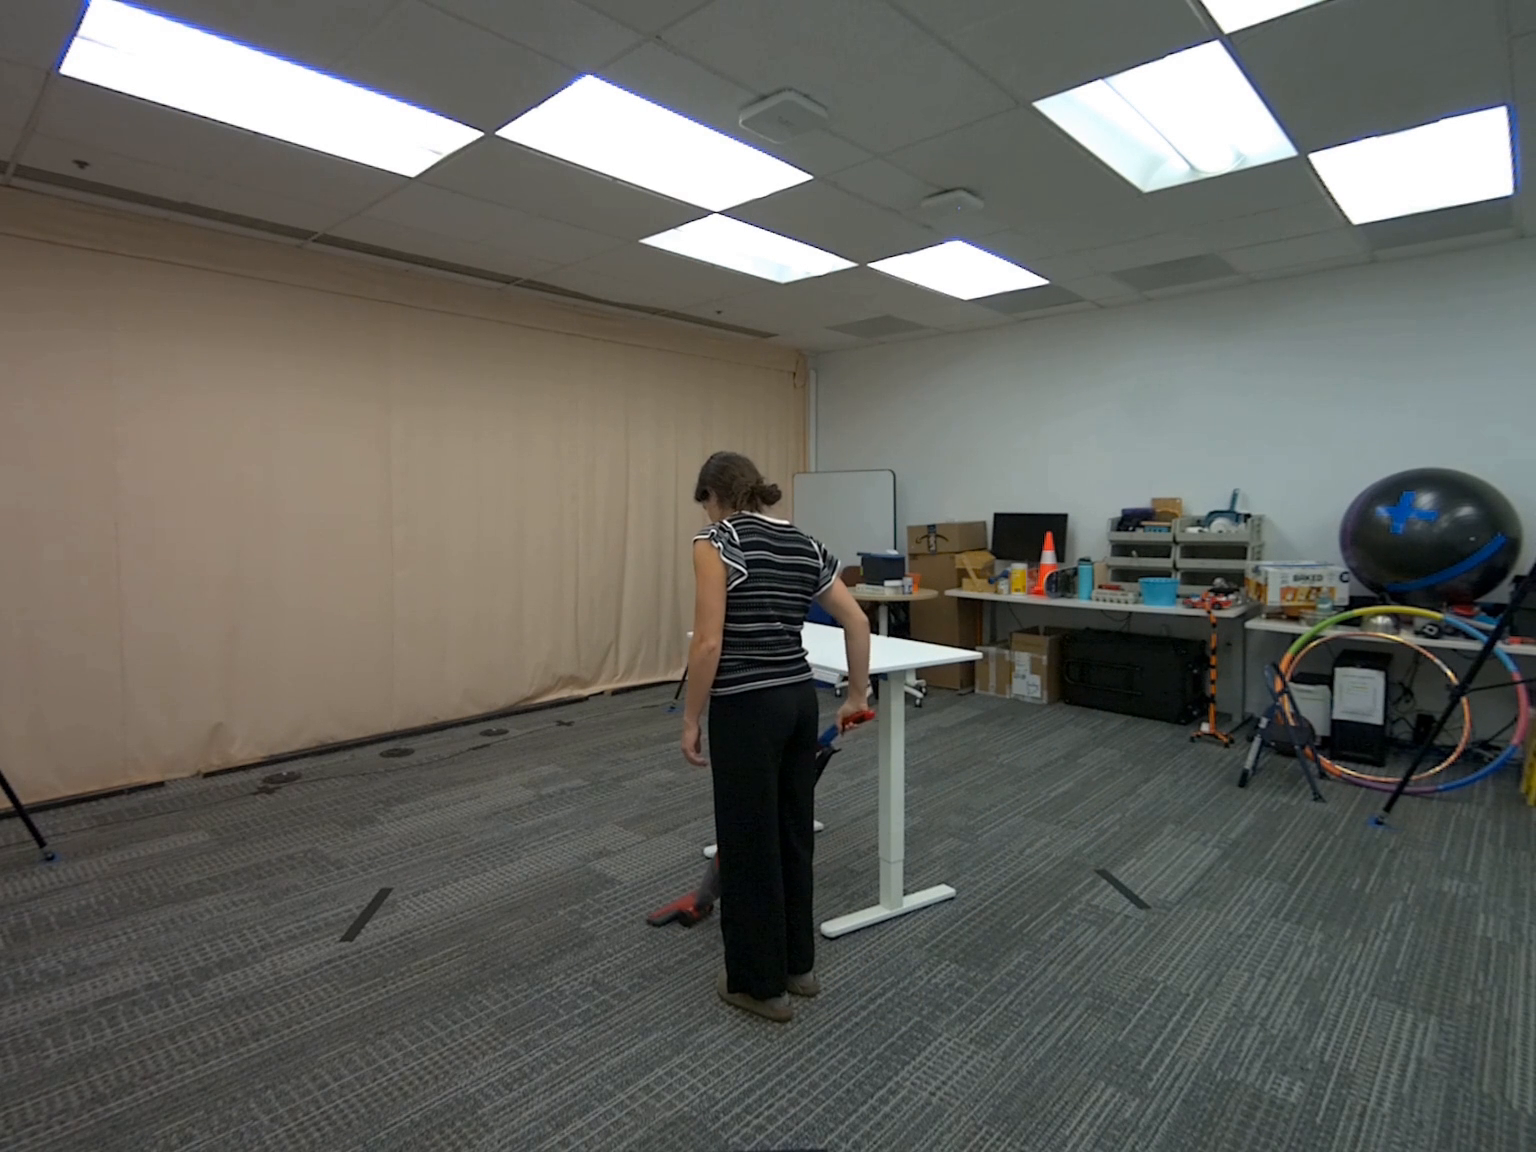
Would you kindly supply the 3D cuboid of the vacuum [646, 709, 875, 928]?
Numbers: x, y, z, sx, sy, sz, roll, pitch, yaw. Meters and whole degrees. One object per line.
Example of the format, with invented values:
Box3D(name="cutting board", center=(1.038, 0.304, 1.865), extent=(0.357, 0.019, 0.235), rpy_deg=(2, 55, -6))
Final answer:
Box3D(name="vacuum", center=(-0.017, 0.775, 2.646), extent=(0.147, 1.052, 0.246), rpy_deg=(48, 28, 20))
